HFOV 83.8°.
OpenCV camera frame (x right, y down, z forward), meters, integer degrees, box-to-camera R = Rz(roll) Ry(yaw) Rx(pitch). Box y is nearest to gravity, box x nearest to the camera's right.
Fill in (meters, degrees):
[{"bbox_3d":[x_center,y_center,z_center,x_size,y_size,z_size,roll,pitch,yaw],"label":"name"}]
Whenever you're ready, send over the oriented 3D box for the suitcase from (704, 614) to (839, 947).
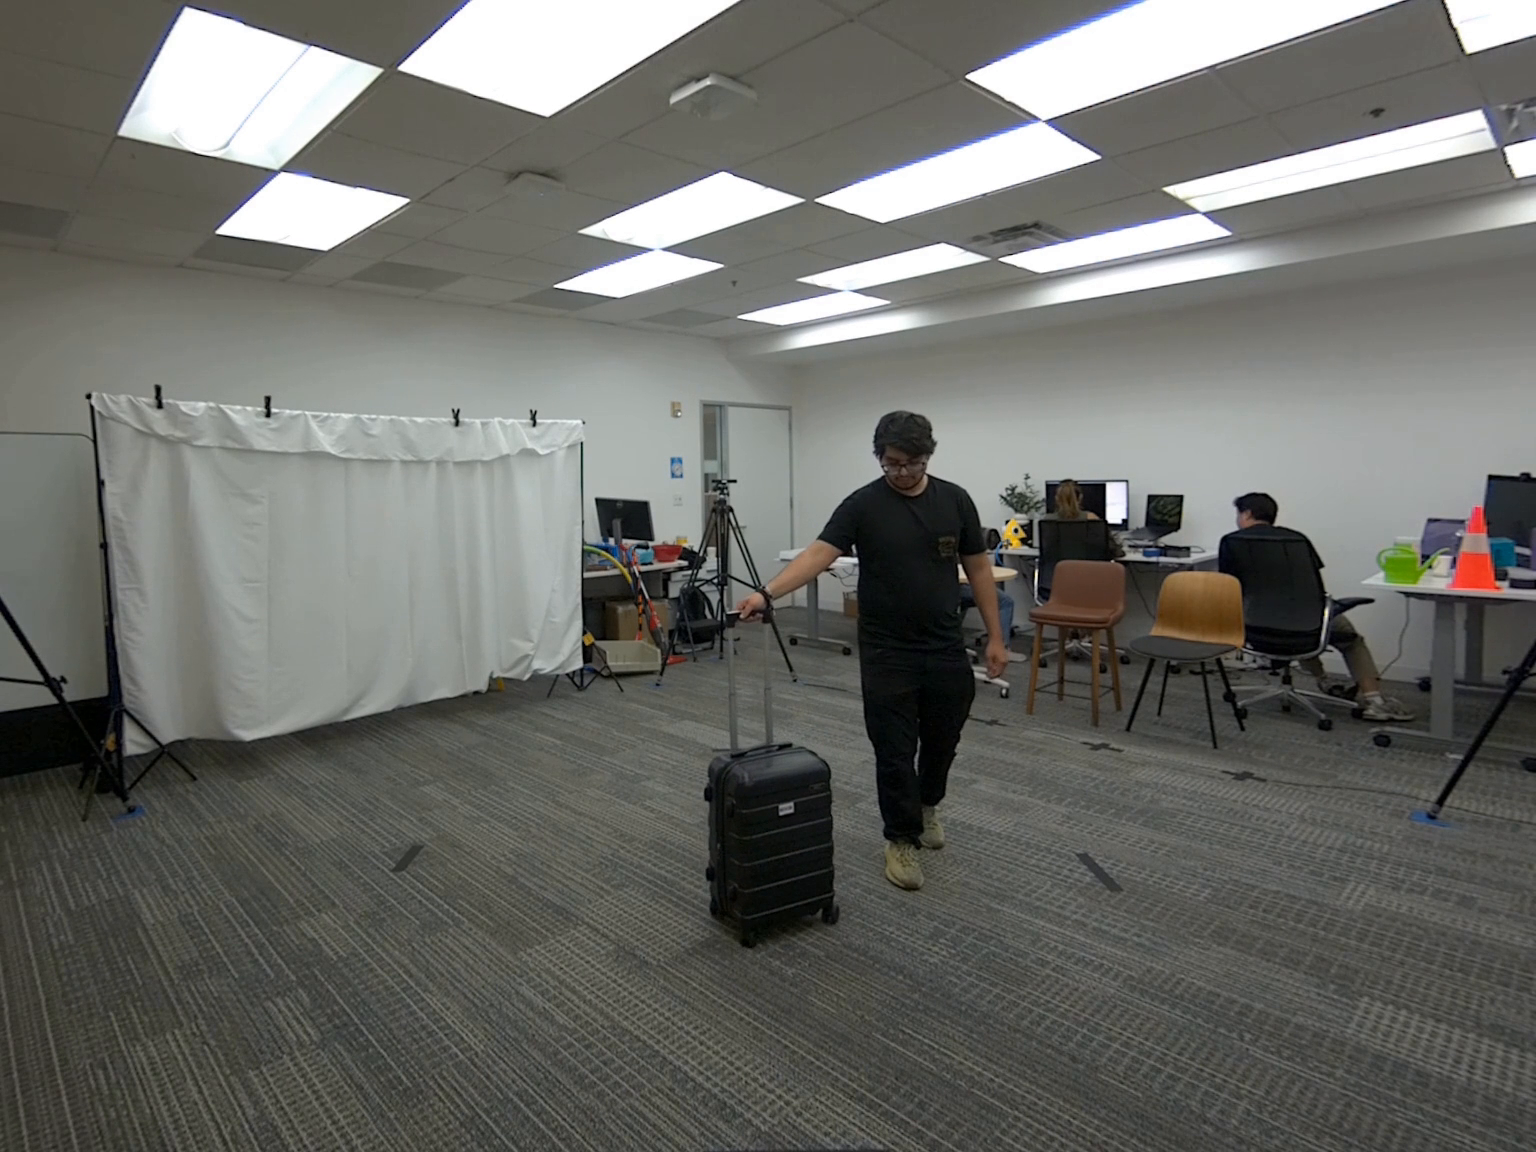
[{"bbox_3d":[0.011,0.620,2.666,0.376,0.972,0.264,-5,8,-26],"label":"suitcase"}]
